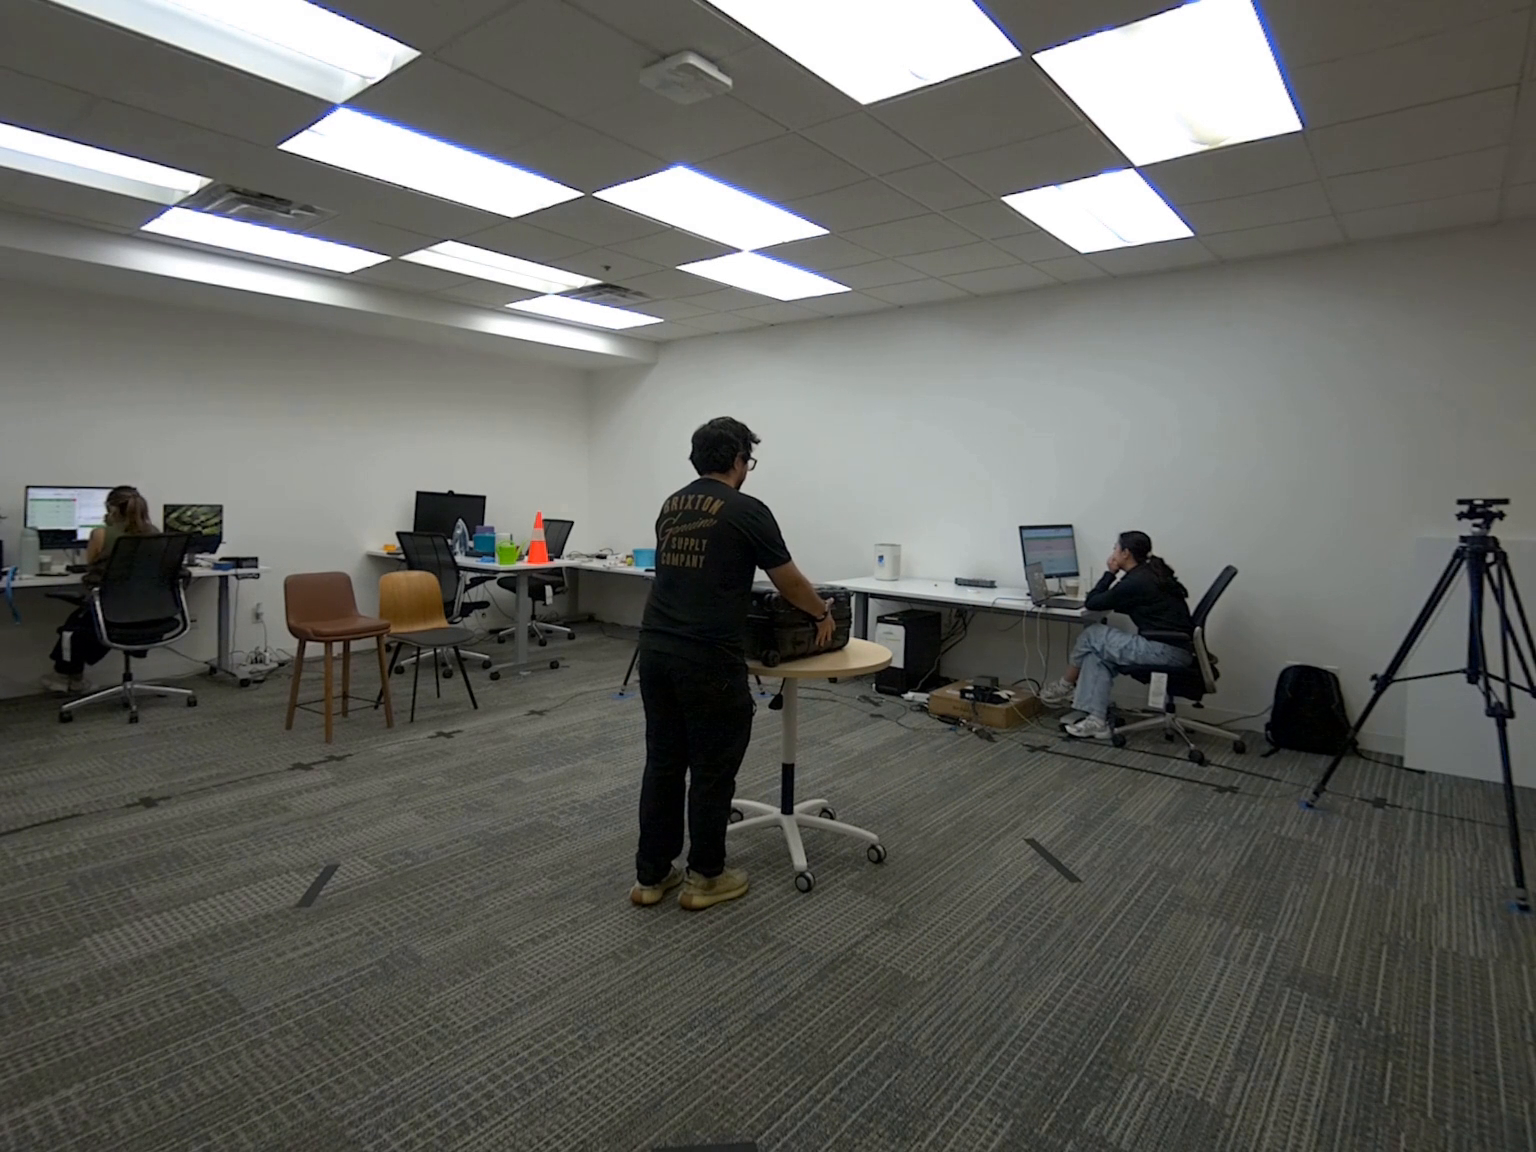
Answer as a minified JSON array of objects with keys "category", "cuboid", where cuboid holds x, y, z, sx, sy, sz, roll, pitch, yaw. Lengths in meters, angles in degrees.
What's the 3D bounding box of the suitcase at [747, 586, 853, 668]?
[{"category":"suitcase","cuboid":[0.049,0.158,3.225,0.388,0.248,0.533,3,4,38]}]
